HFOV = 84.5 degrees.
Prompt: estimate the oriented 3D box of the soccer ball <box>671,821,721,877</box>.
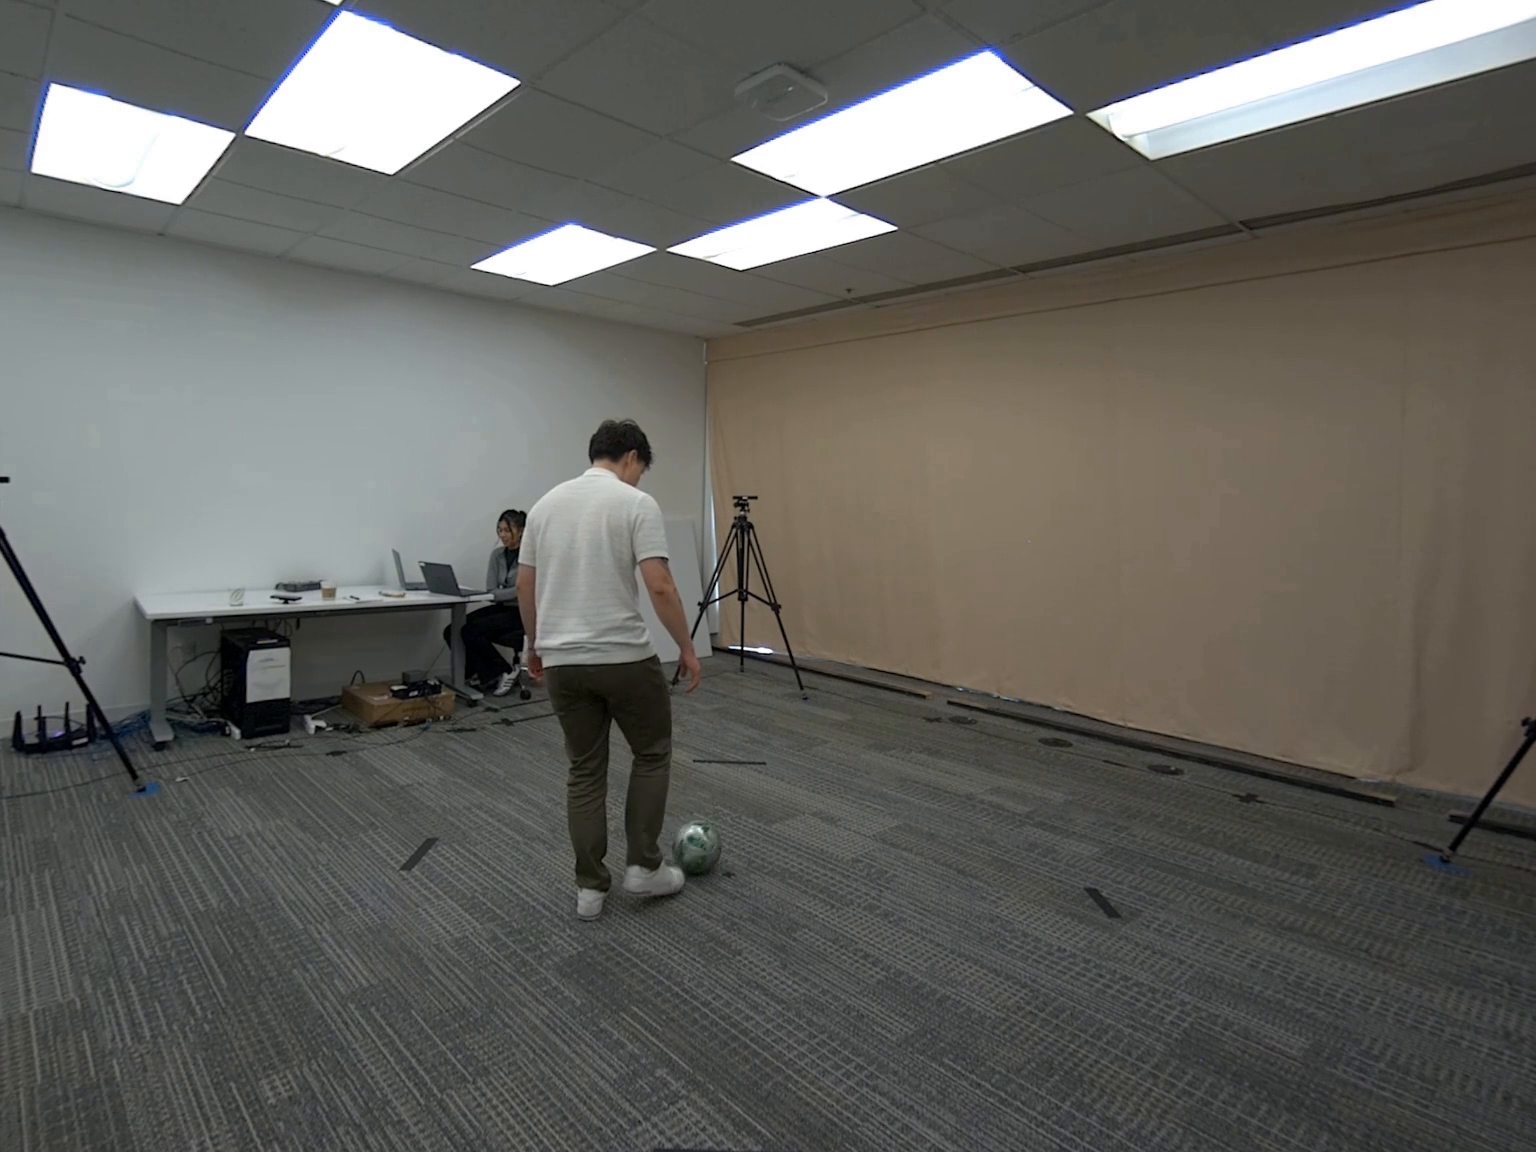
[{"bbox_3d":[-0.270,0.994,3.120,0.187,0.187,0.188,1,4,-1],"label":"soccer ball"}]
